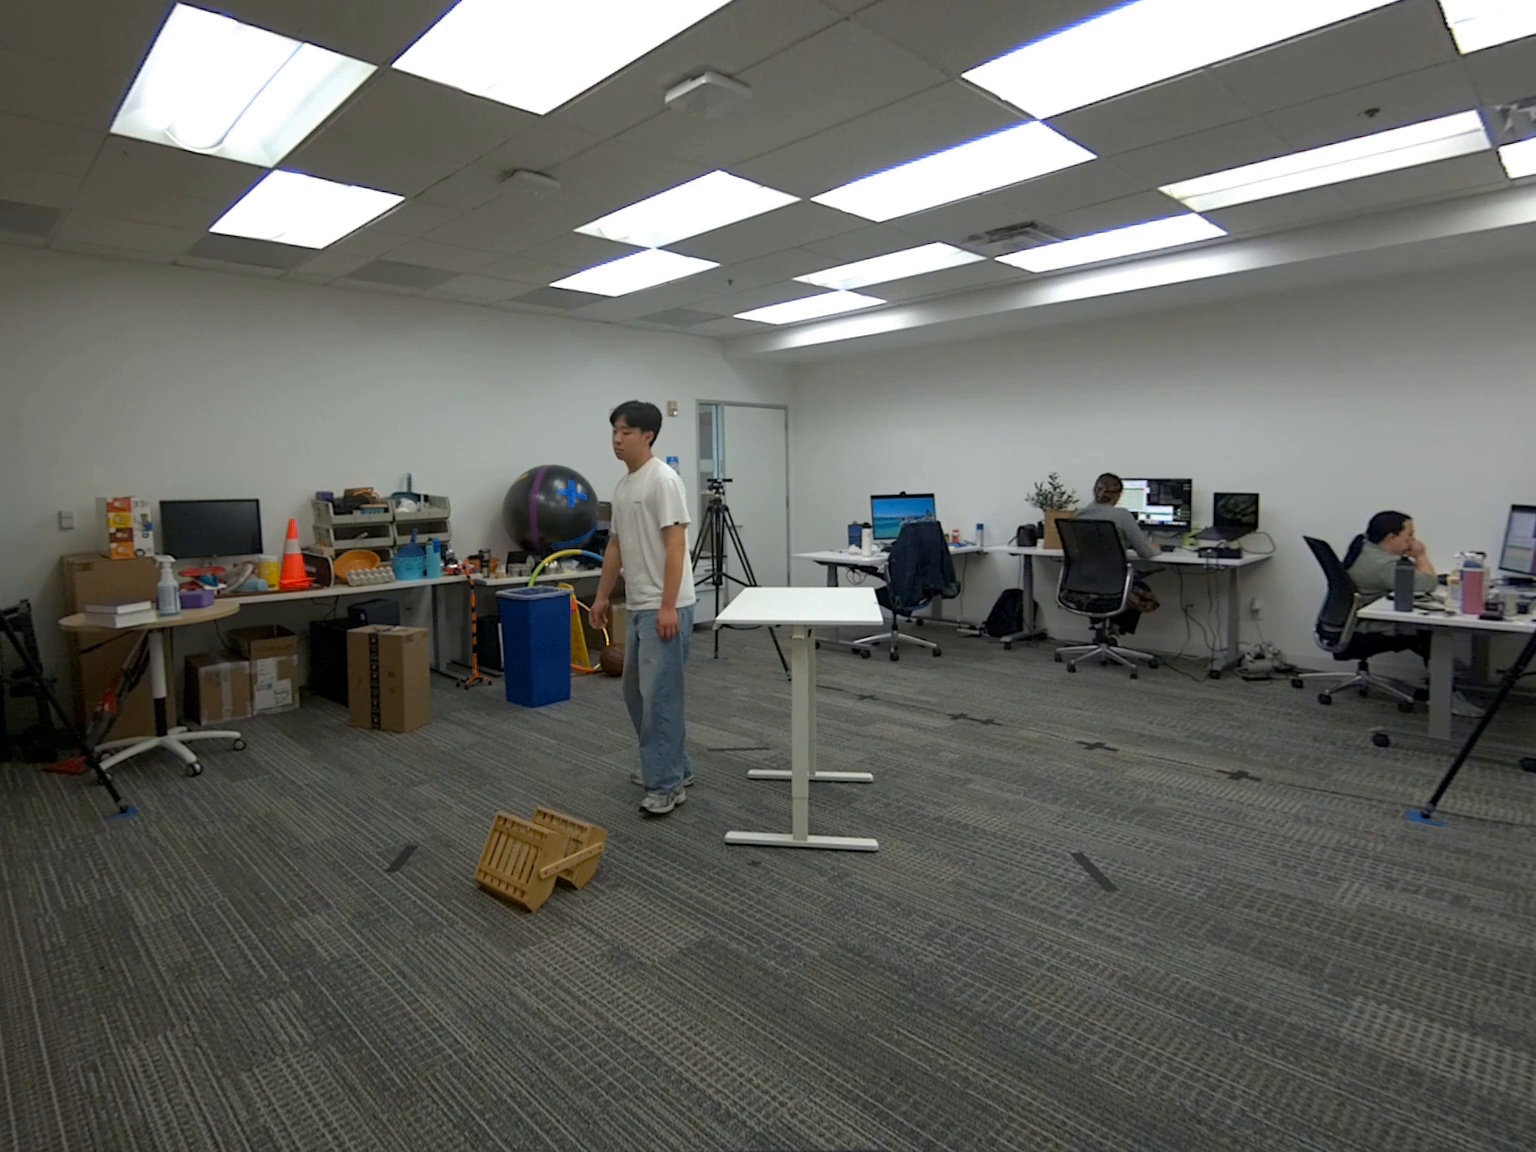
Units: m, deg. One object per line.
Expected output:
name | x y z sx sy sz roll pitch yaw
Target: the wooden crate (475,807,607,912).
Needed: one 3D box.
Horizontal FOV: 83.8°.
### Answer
wooden crate | -0.793 0.986 2.989 0.334 0.305 0.263 3 -21 39
